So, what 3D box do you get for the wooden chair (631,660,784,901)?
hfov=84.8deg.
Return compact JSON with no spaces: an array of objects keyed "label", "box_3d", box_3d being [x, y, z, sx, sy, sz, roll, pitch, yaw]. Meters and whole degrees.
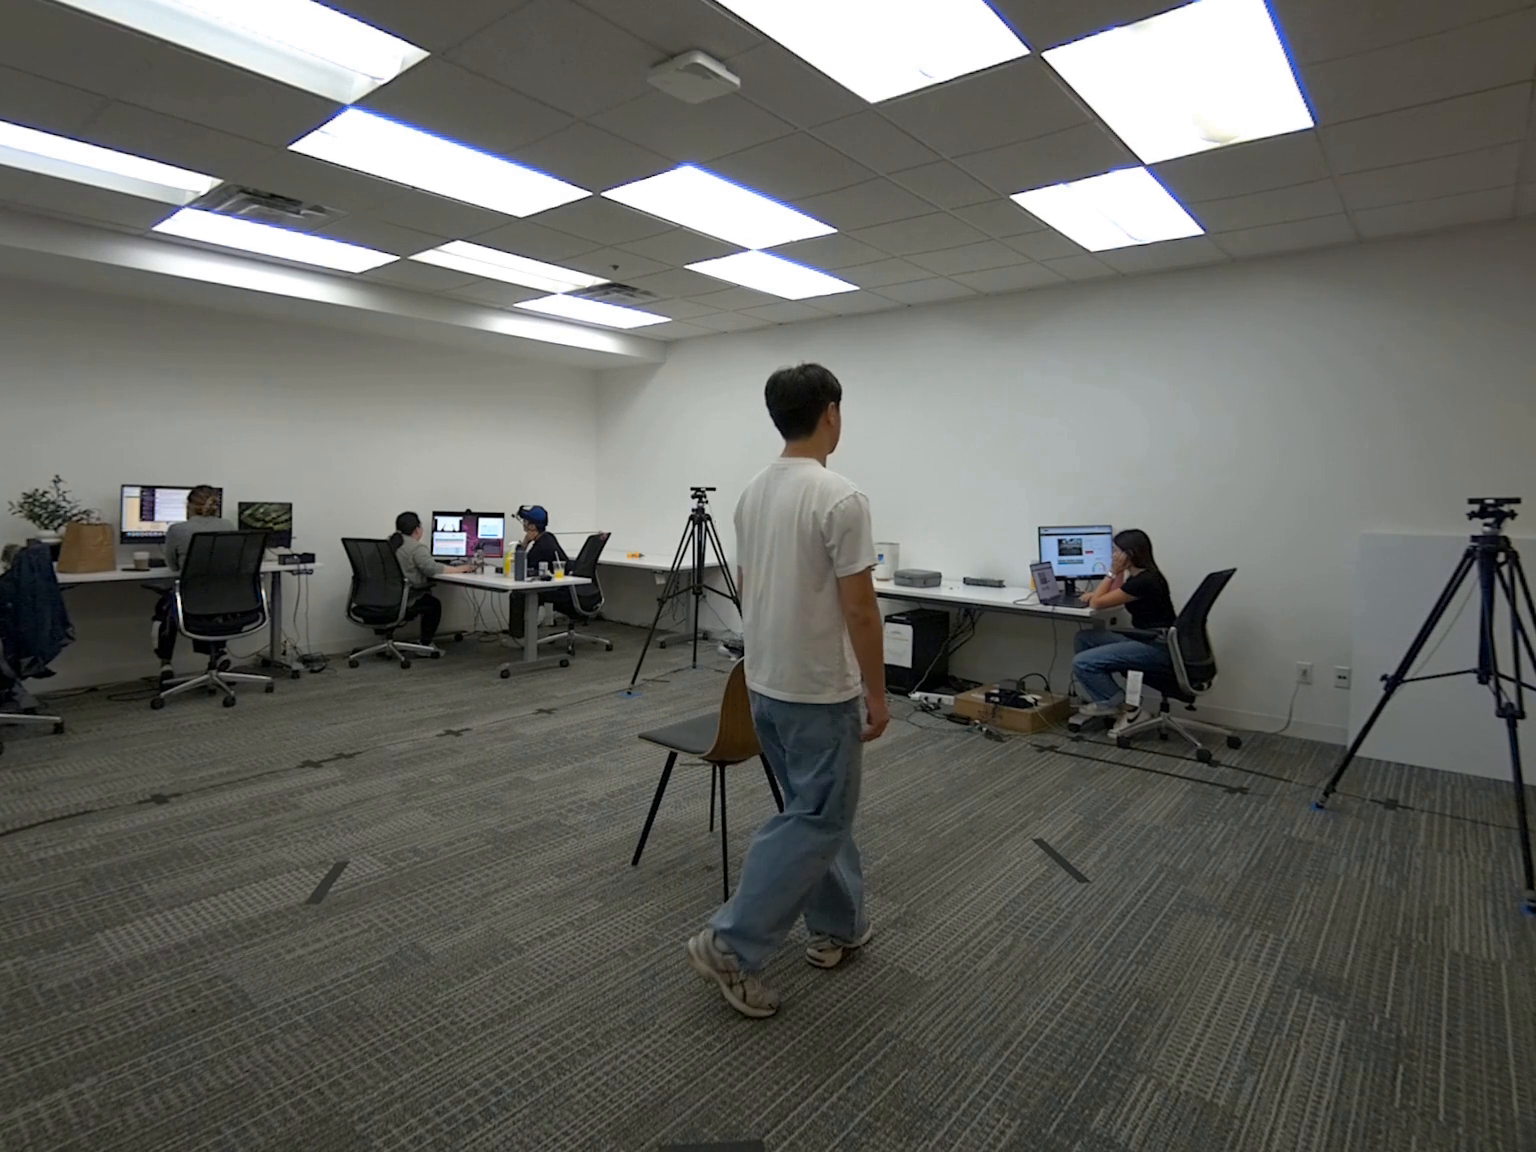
[{"label":"wooden chair","box_3d":[-0.195,0.638,3.127,0.542,0.873,0.464,9,7,38]}]
